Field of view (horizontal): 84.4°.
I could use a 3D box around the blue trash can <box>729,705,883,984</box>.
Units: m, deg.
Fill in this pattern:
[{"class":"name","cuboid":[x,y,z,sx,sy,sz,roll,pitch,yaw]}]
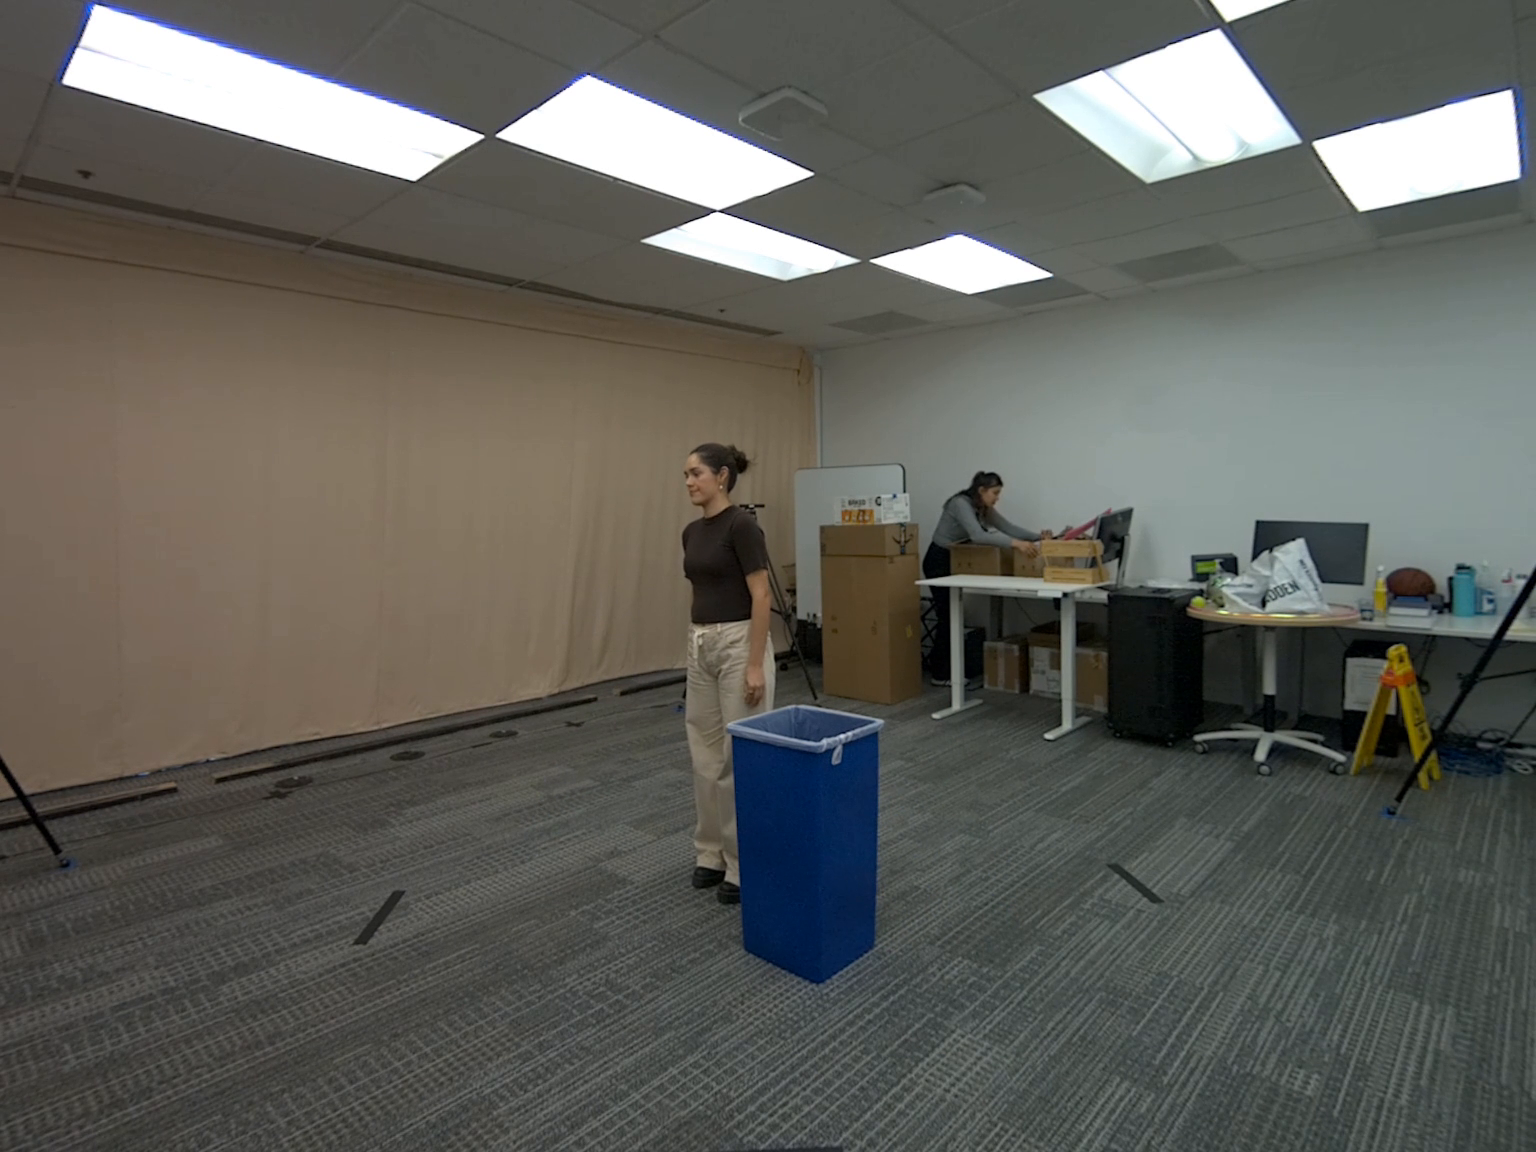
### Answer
[{"class":"blue trash can","cuboid":[0.121,0.810,2.624,0.386,0.712,0.366,2,4,42]}]
